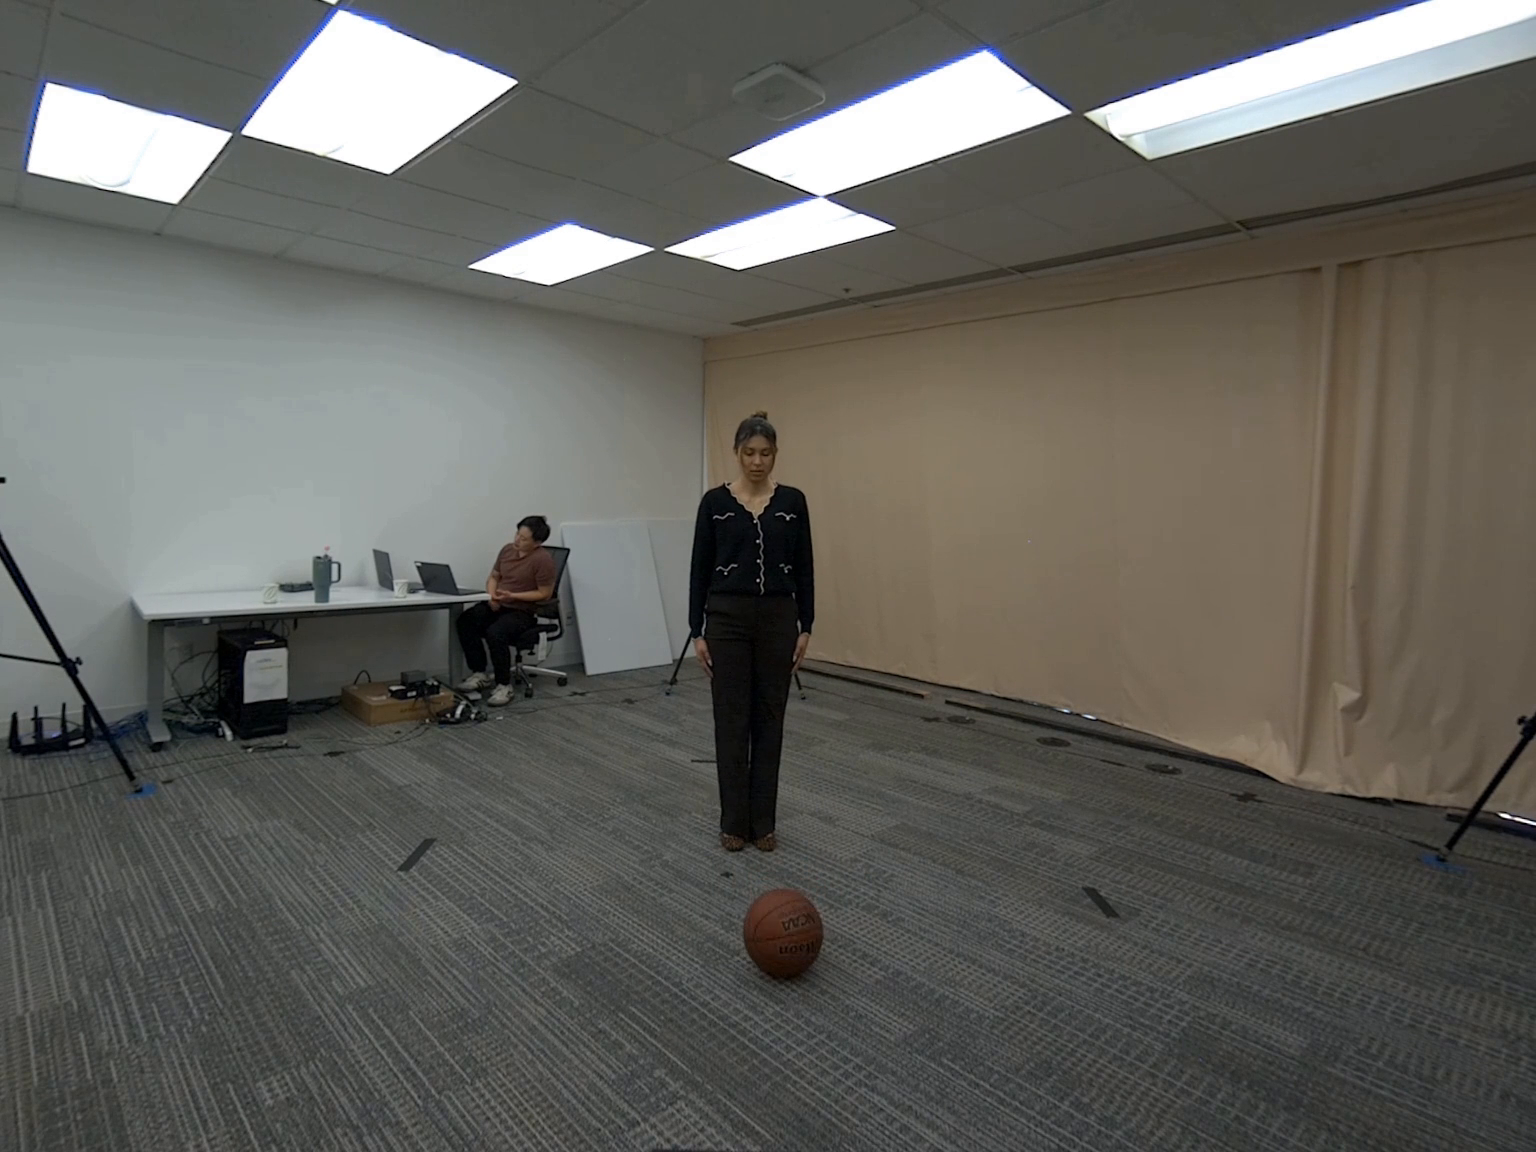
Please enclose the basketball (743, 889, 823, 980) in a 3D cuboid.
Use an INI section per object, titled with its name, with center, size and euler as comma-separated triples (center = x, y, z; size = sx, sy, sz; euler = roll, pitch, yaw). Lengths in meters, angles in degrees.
[basketball]
center = 0.039, 1.049, 2.471
size = 0.236, 0.235, 0.237
euler = 1, 4, -1
